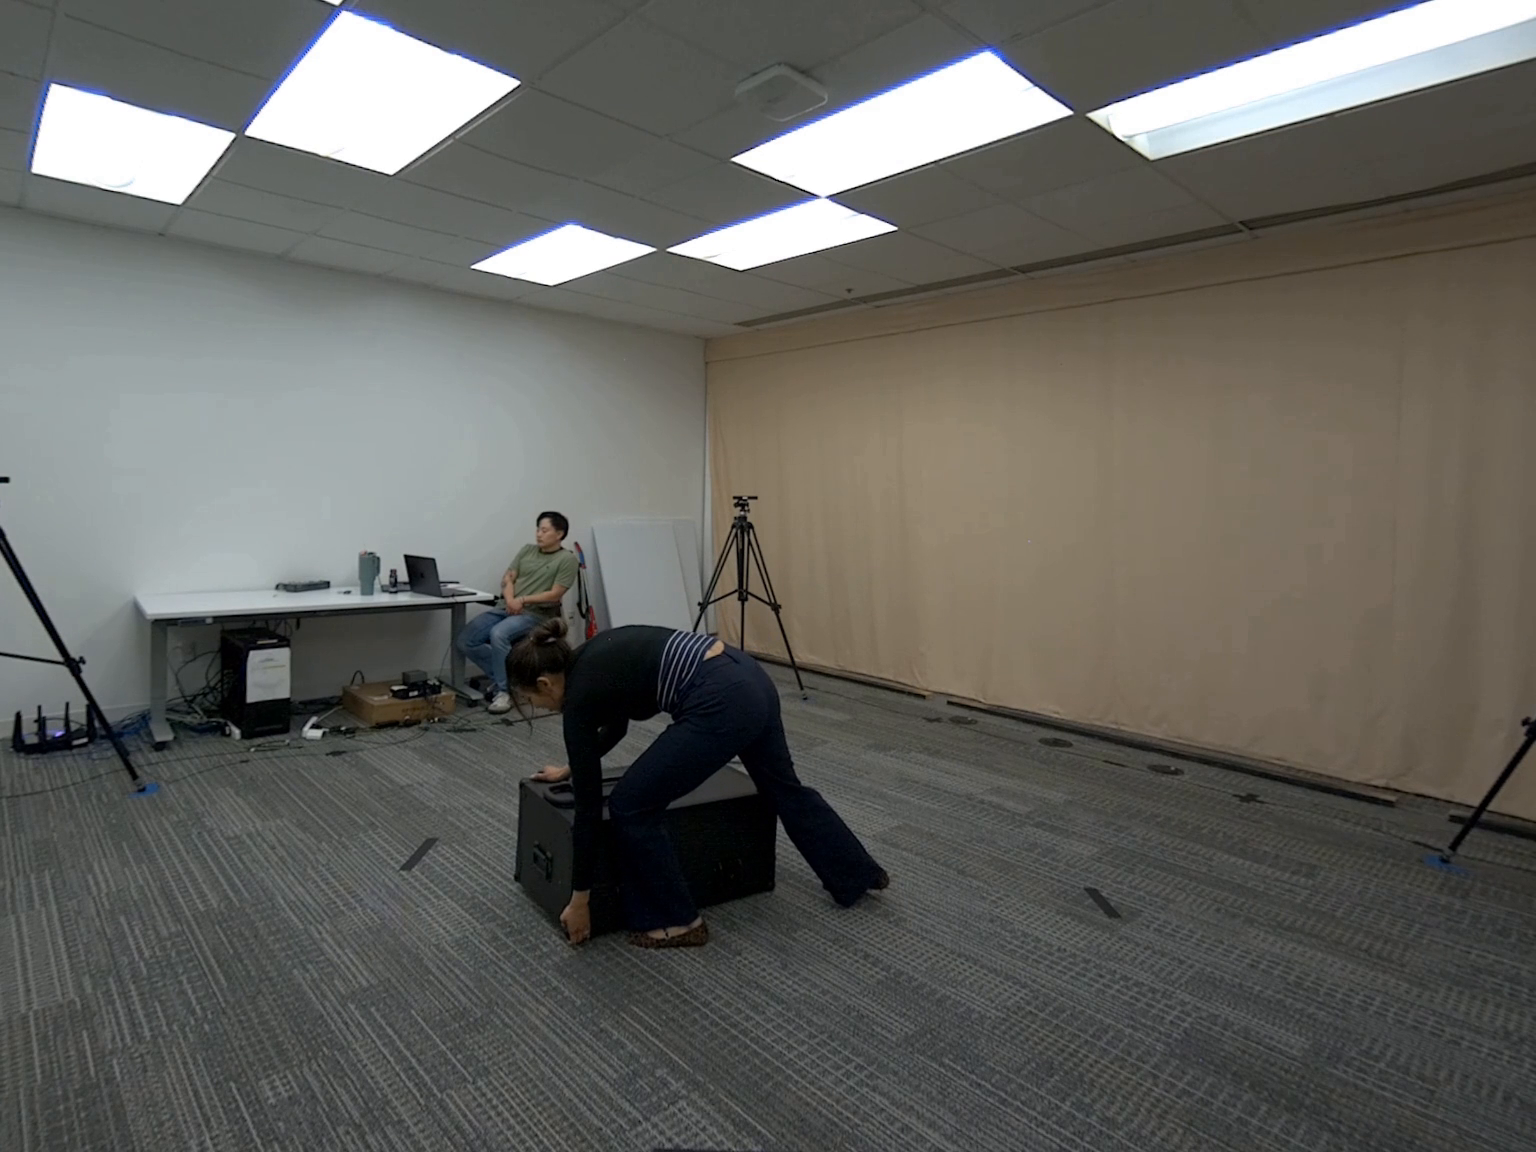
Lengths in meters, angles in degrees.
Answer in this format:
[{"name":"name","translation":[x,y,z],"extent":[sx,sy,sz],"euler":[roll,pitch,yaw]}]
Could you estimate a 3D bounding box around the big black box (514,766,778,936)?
[{"name":"big black box","translation":[-0.454,0.928,2.954],"extent":[0.842,0.395,0.534],"euler":[-1,5,-35]}]
